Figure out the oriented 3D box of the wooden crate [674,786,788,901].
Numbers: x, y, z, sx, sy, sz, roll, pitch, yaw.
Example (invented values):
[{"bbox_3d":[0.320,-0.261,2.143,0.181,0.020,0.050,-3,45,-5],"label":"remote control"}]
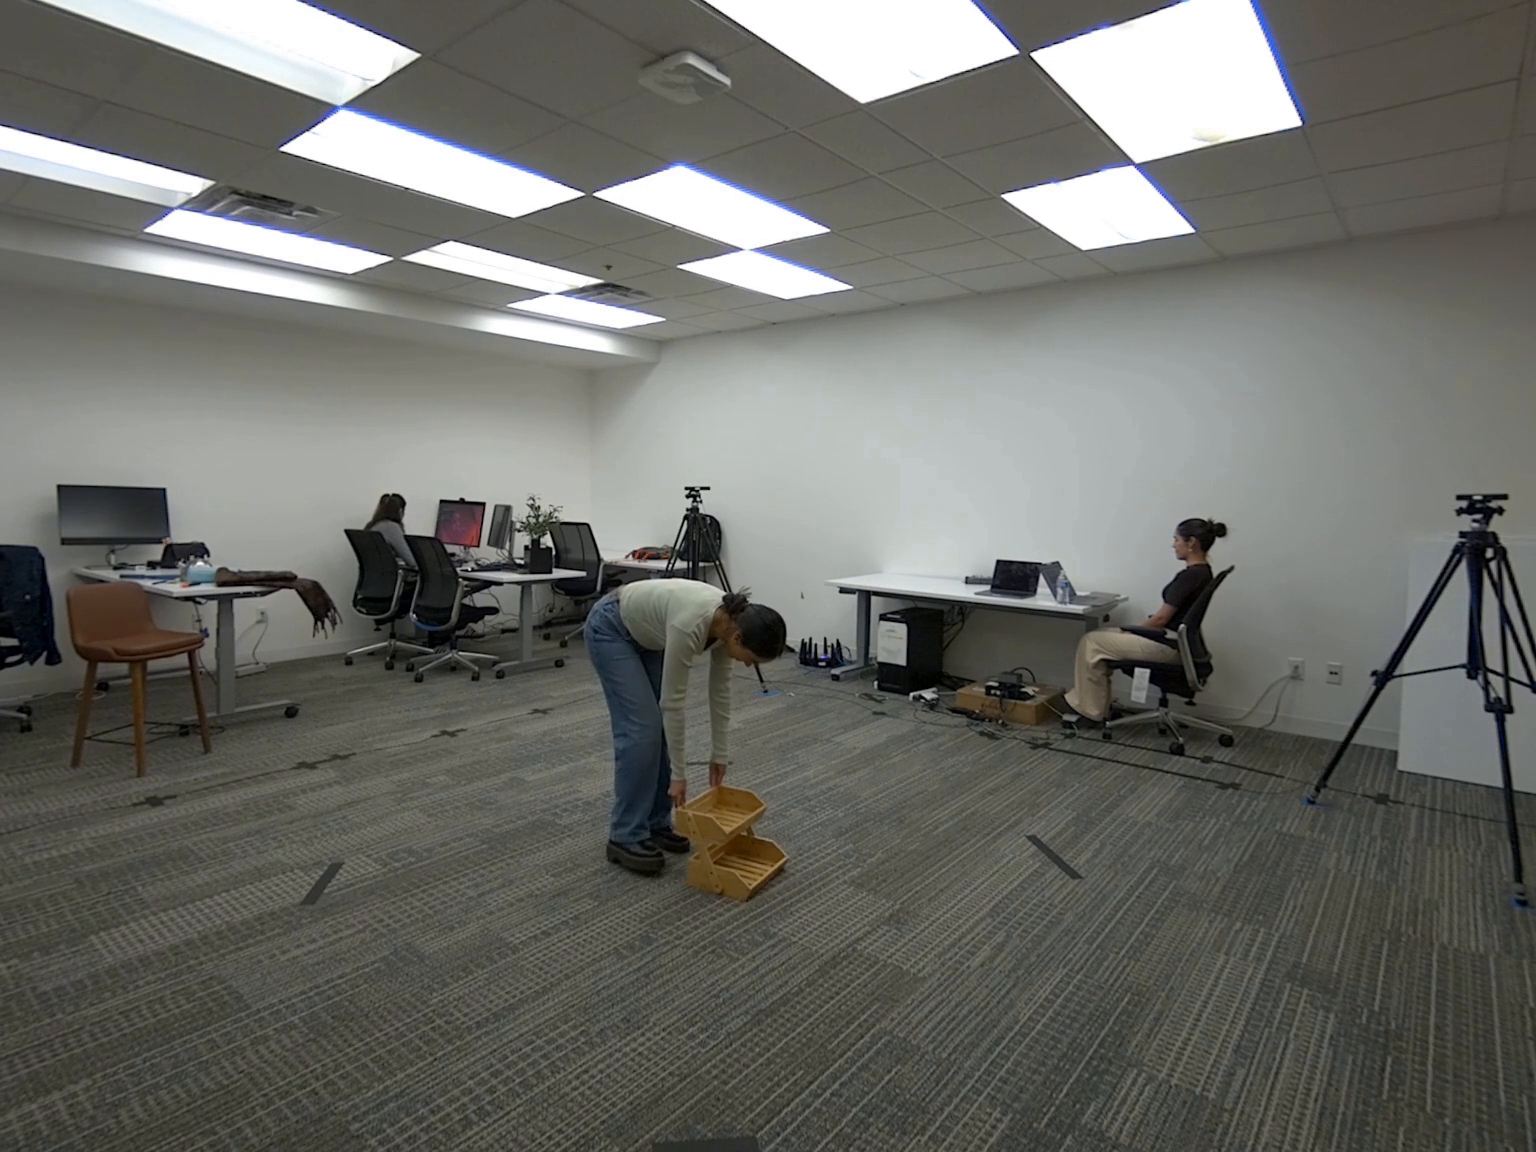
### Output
[{"bbox_3d":[-0.132,0.941,3.045,0.310,0.272,0.316,2,4,29],"label":"wooden crate"}]
